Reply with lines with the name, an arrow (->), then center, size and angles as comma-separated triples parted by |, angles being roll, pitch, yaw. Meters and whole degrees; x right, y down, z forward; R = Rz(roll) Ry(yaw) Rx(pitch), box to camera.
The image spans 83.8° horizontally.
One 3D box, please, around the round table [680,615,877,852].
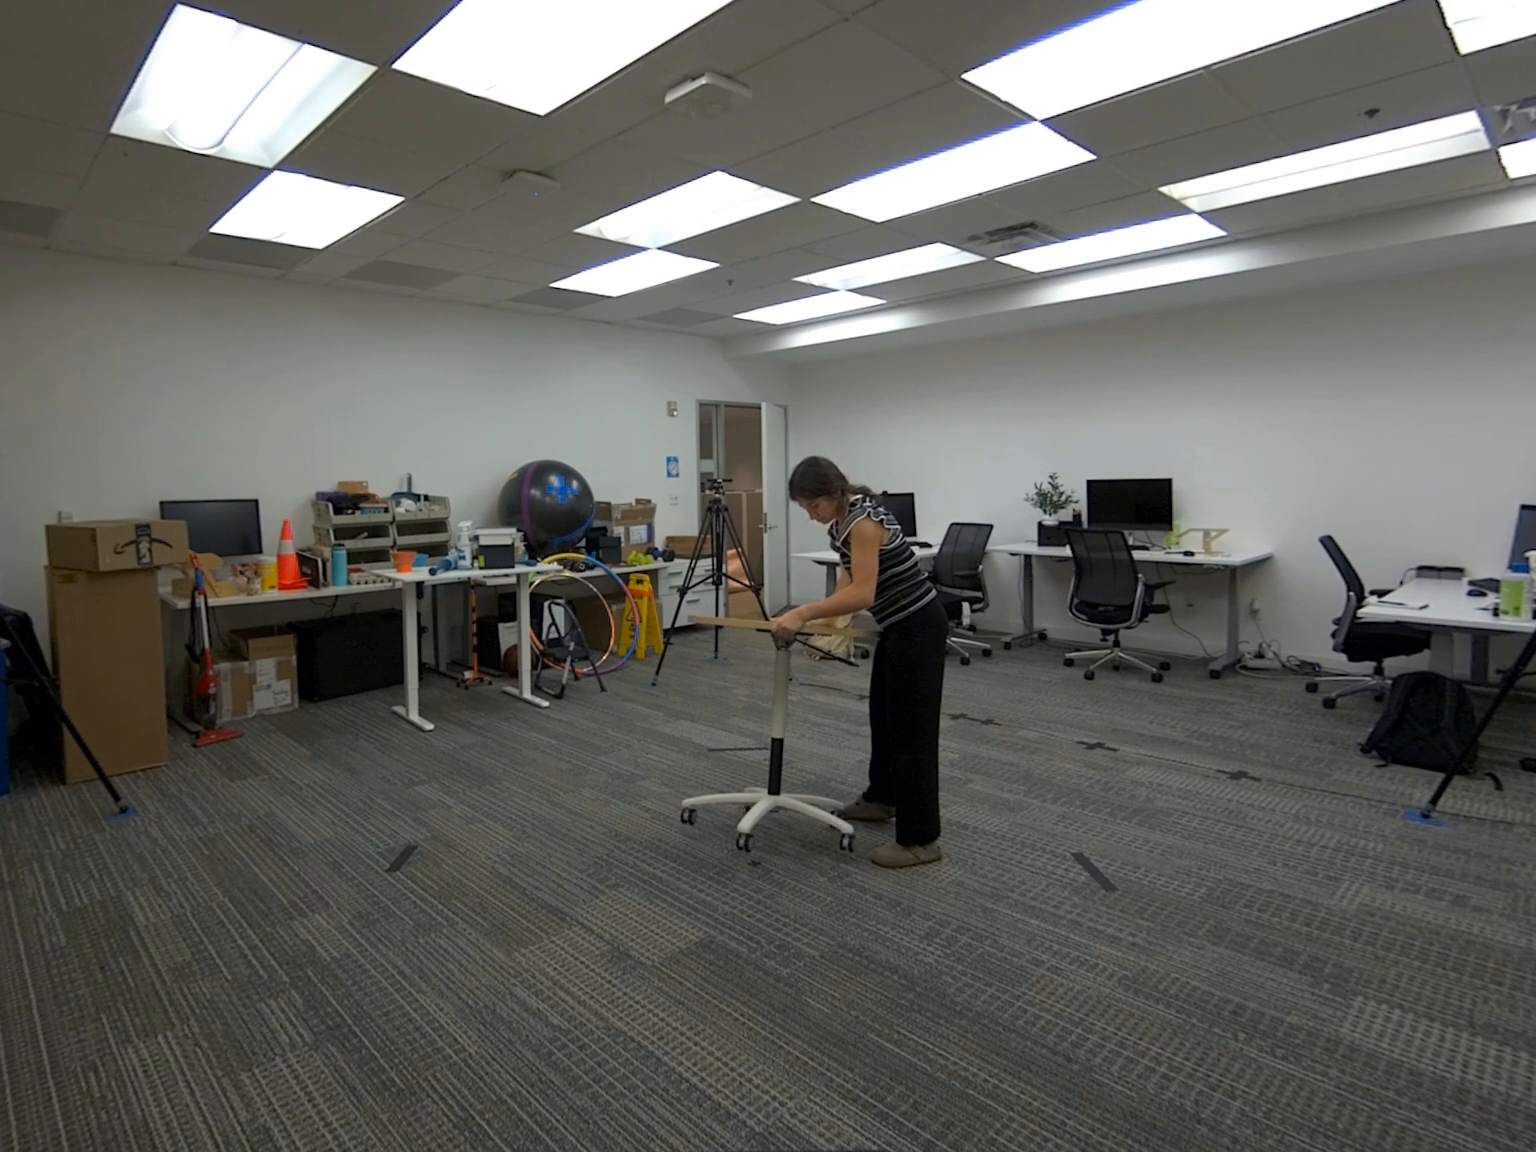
round table -> 0.042, 0.577, 3.291 | 0.785, 0.790, 0.783 | 3, -4, -1
